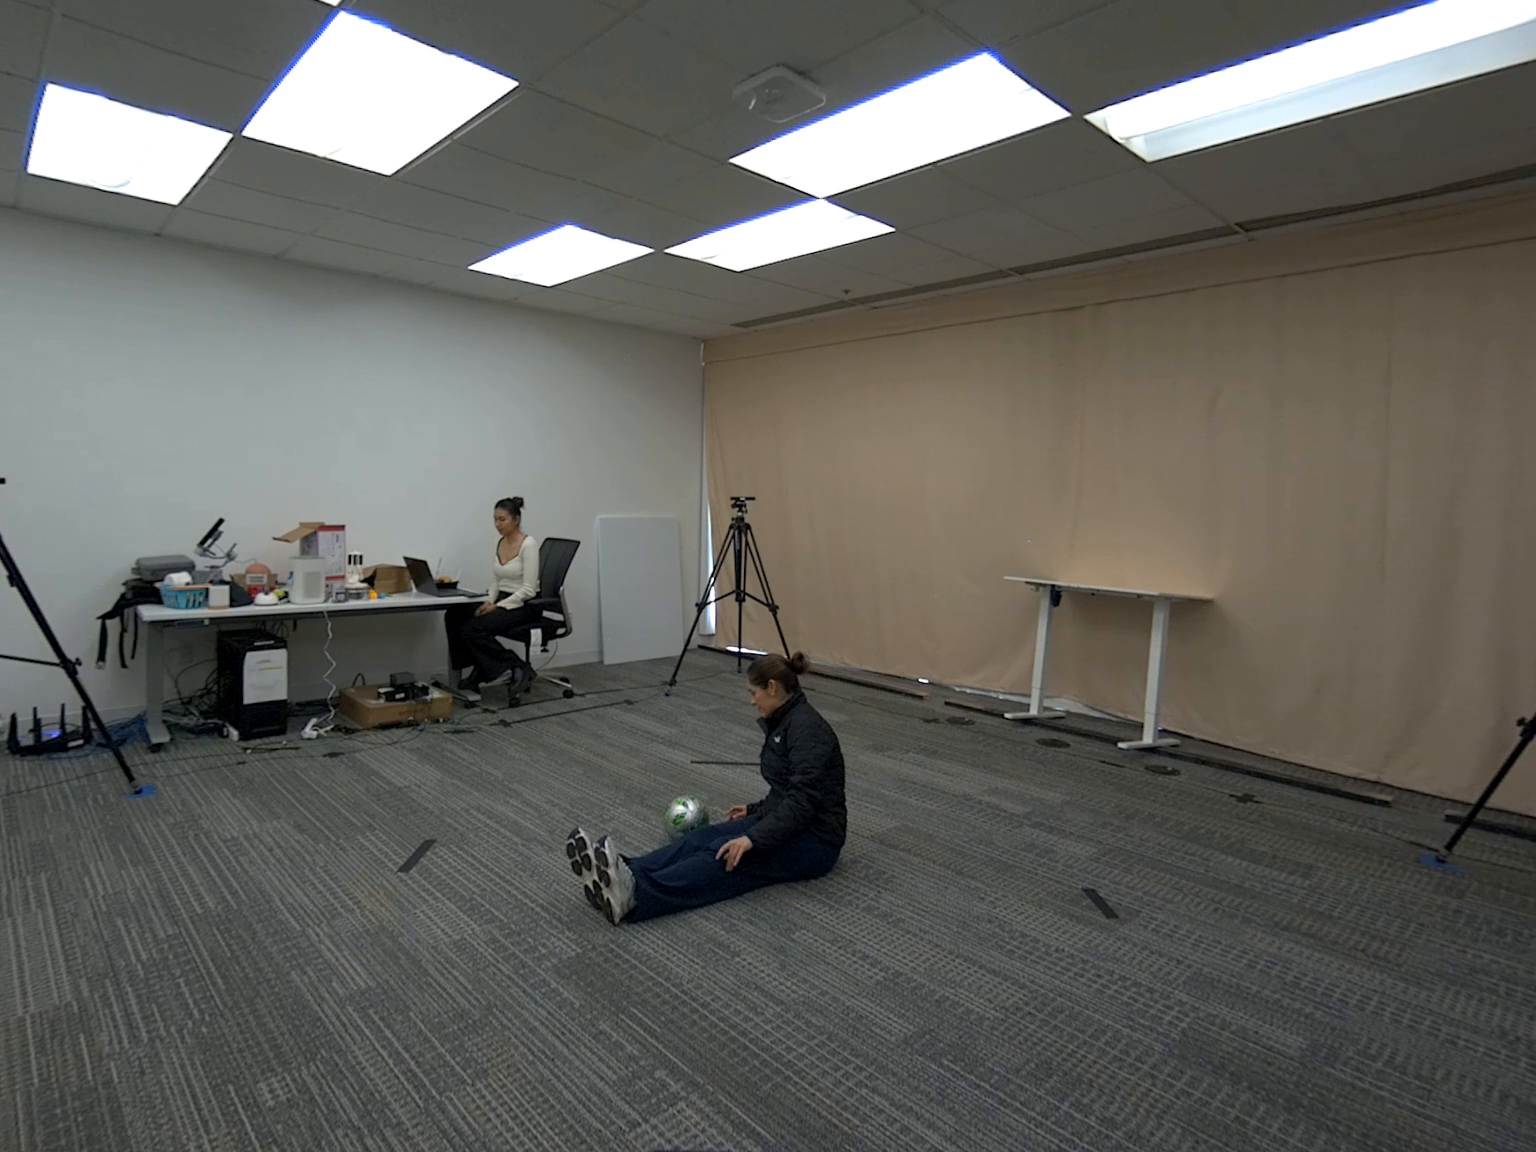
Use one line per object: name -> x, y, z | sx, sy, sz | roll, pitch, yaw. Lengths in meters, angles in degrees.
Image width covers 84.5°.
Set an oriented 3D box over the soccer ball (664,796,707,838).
soccer ball -> -0.333, 0.977, 3.399 | 0.187, 0.187, 0.188 | 1, 4, -1
